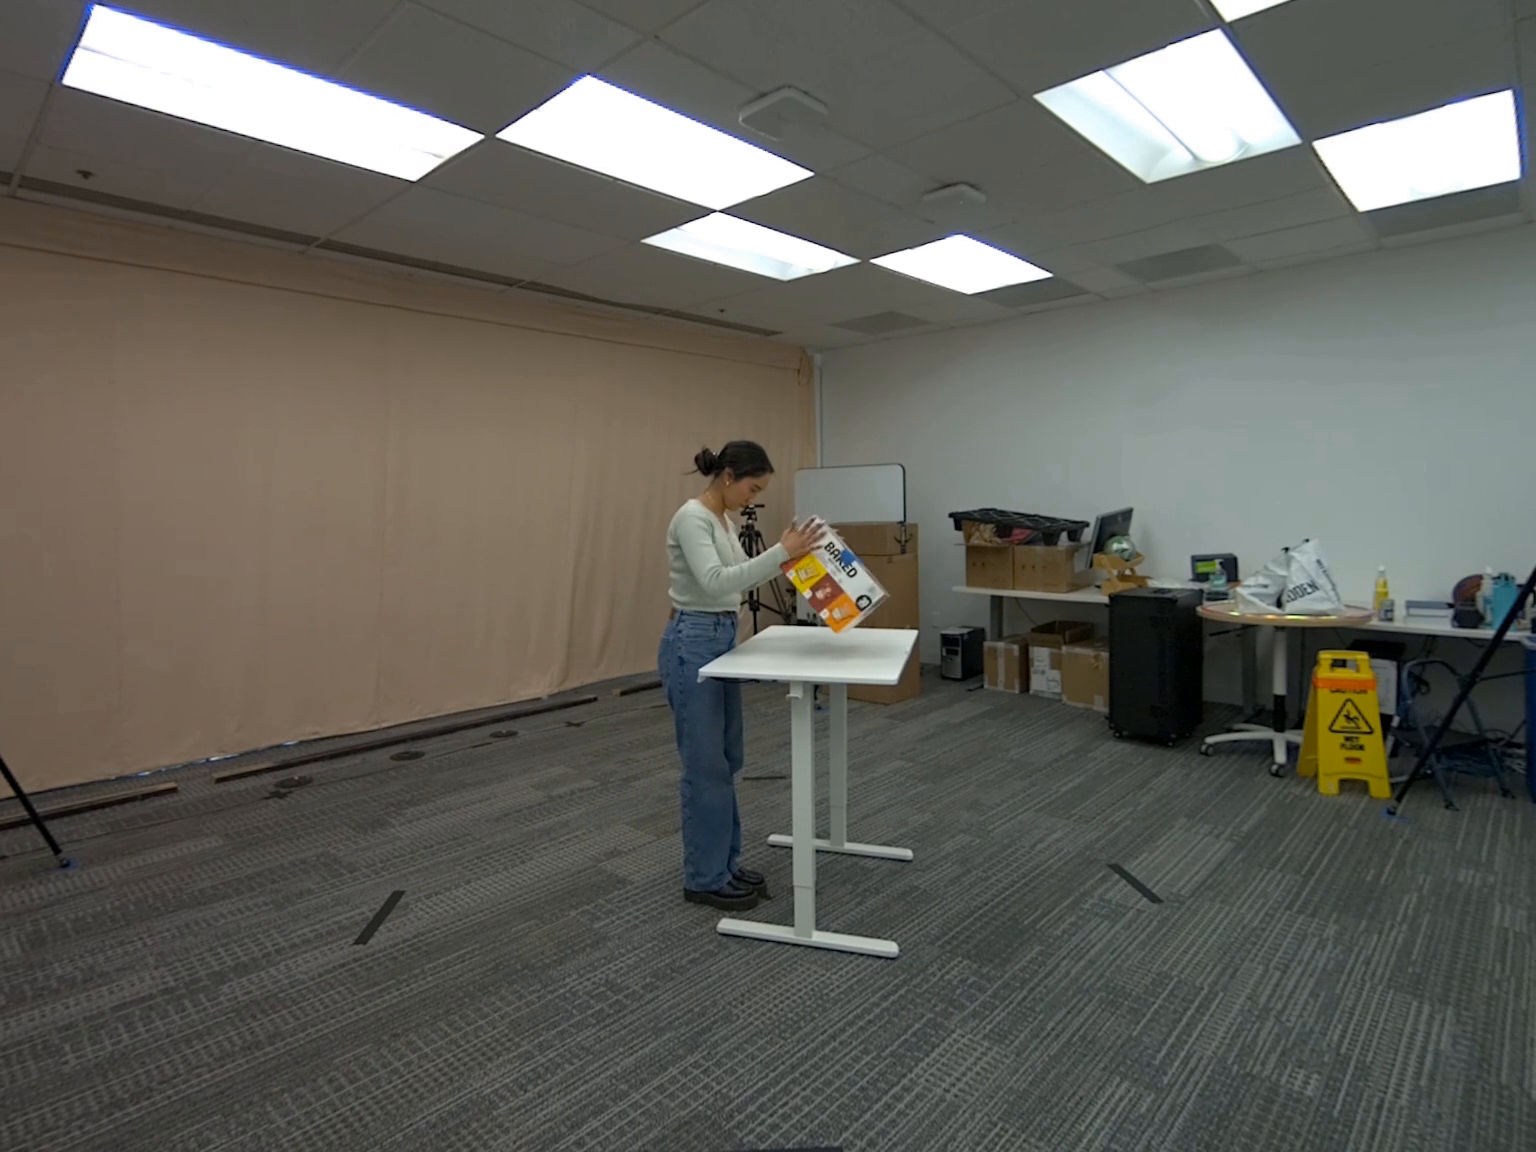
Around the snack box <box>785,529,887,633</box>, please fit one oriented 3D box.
[{"bbox_3d":[0.223,0.005,2.882,0.206,0.345,0.398,-41,-11,6],"label":"snack box"}]
